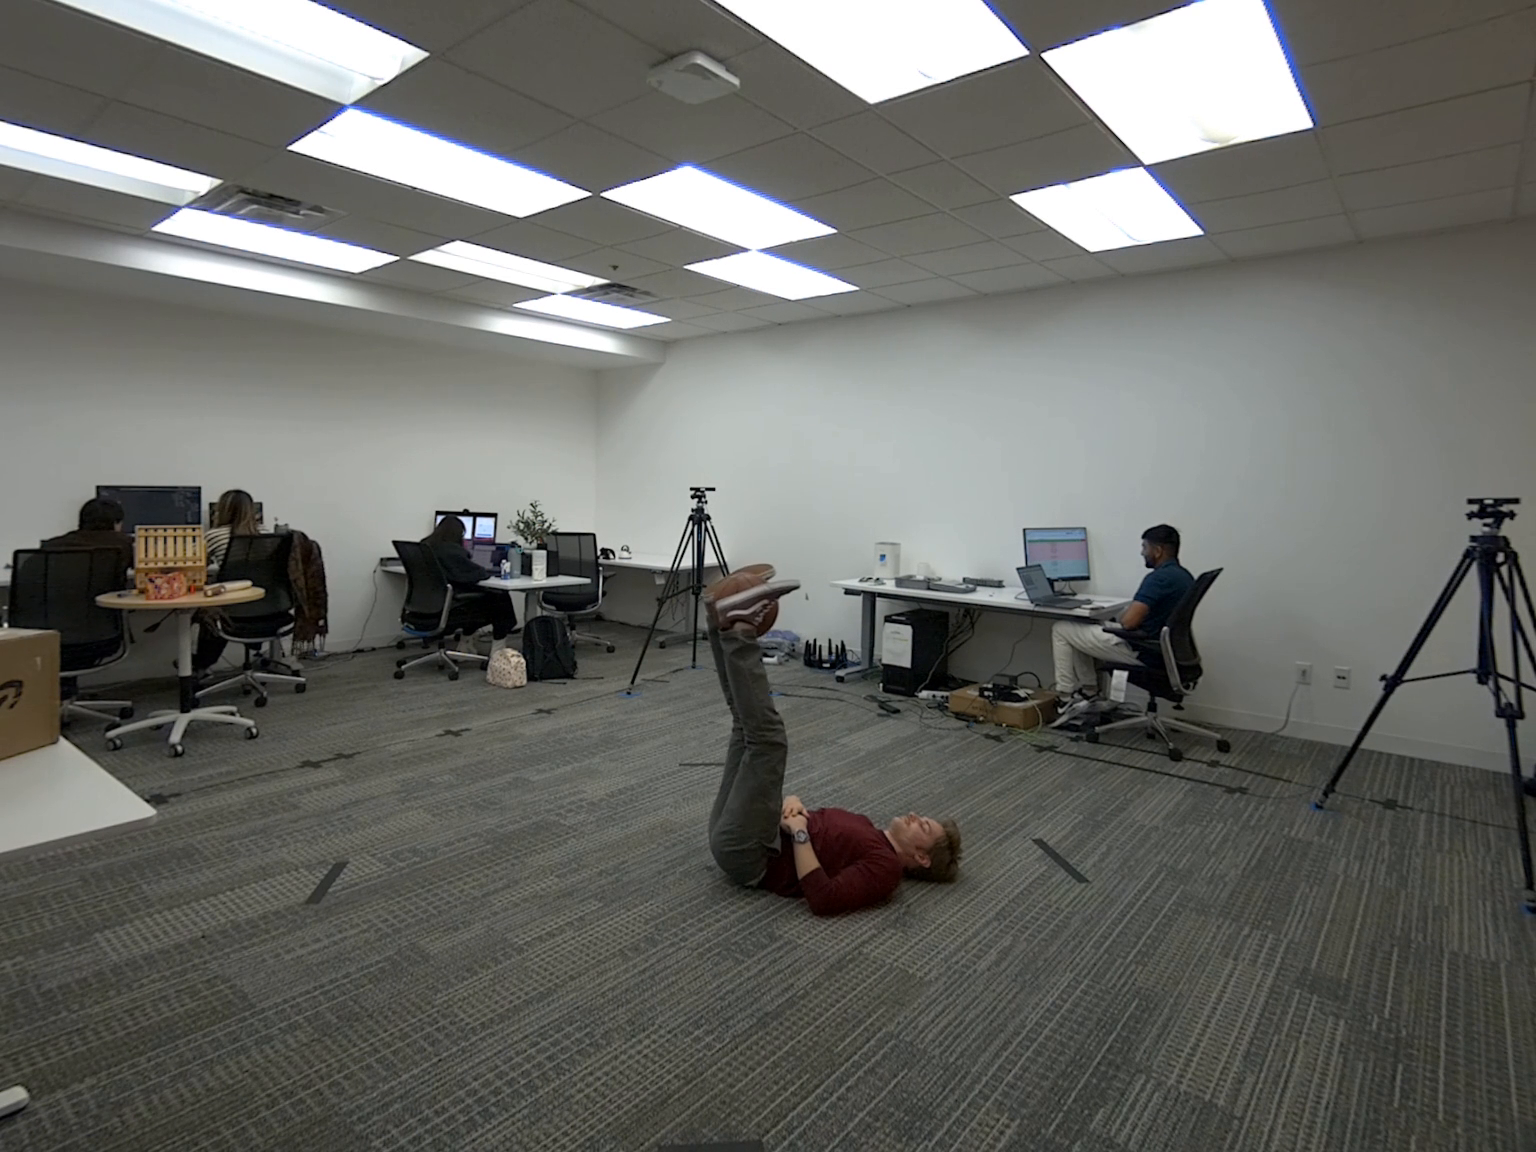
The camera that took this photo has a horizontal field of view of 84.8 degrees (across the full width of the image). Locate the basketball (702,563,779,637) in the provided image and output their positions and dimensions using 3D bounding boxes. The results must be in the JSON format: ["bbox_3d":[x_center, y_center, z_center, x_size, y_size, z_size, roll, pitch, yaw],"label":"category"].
[{"bbox_3d":[-0.112,0.104,3.045,0.236,0.235,0.237,-3,3,-2],"label":"basketball"}]
